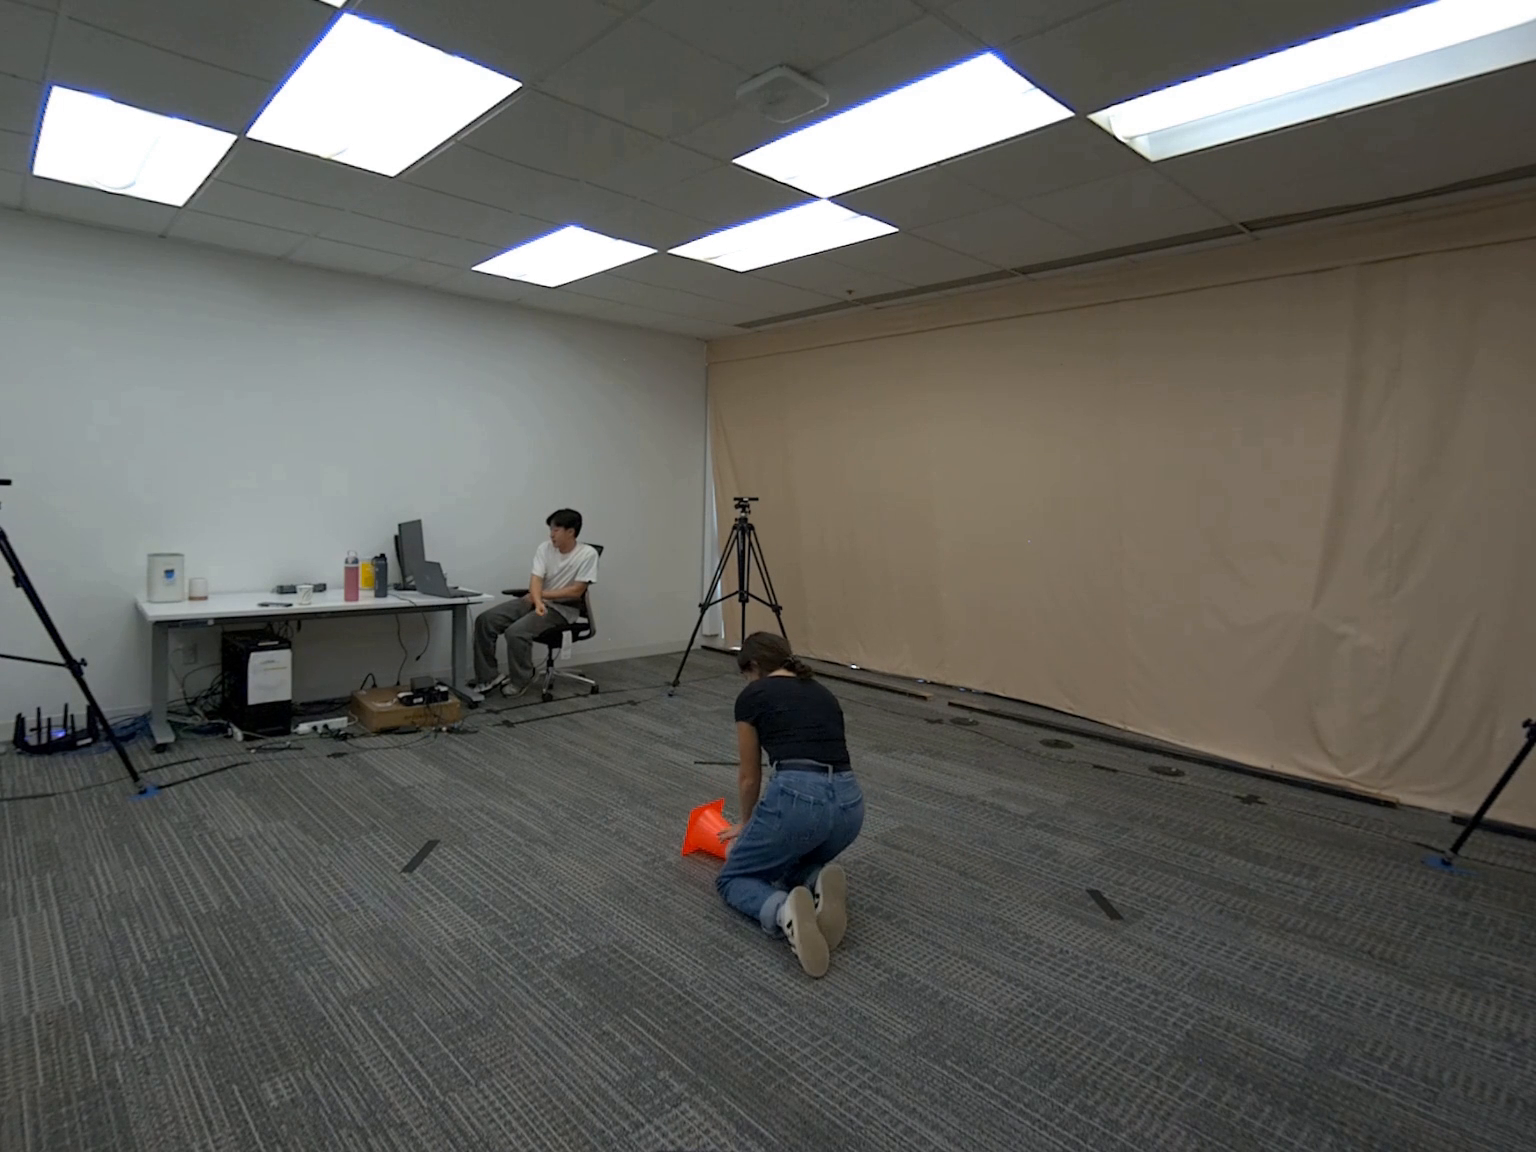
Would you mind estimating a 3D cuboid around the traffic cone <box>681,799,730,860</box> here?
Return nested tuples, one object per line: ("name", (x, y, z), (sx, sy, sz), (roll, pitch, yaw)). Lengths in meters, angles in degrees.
("traffic cone", (-0.123, 1.052, 3.209), (0.395, 0.203, 0.199), (20, 15, 36))
